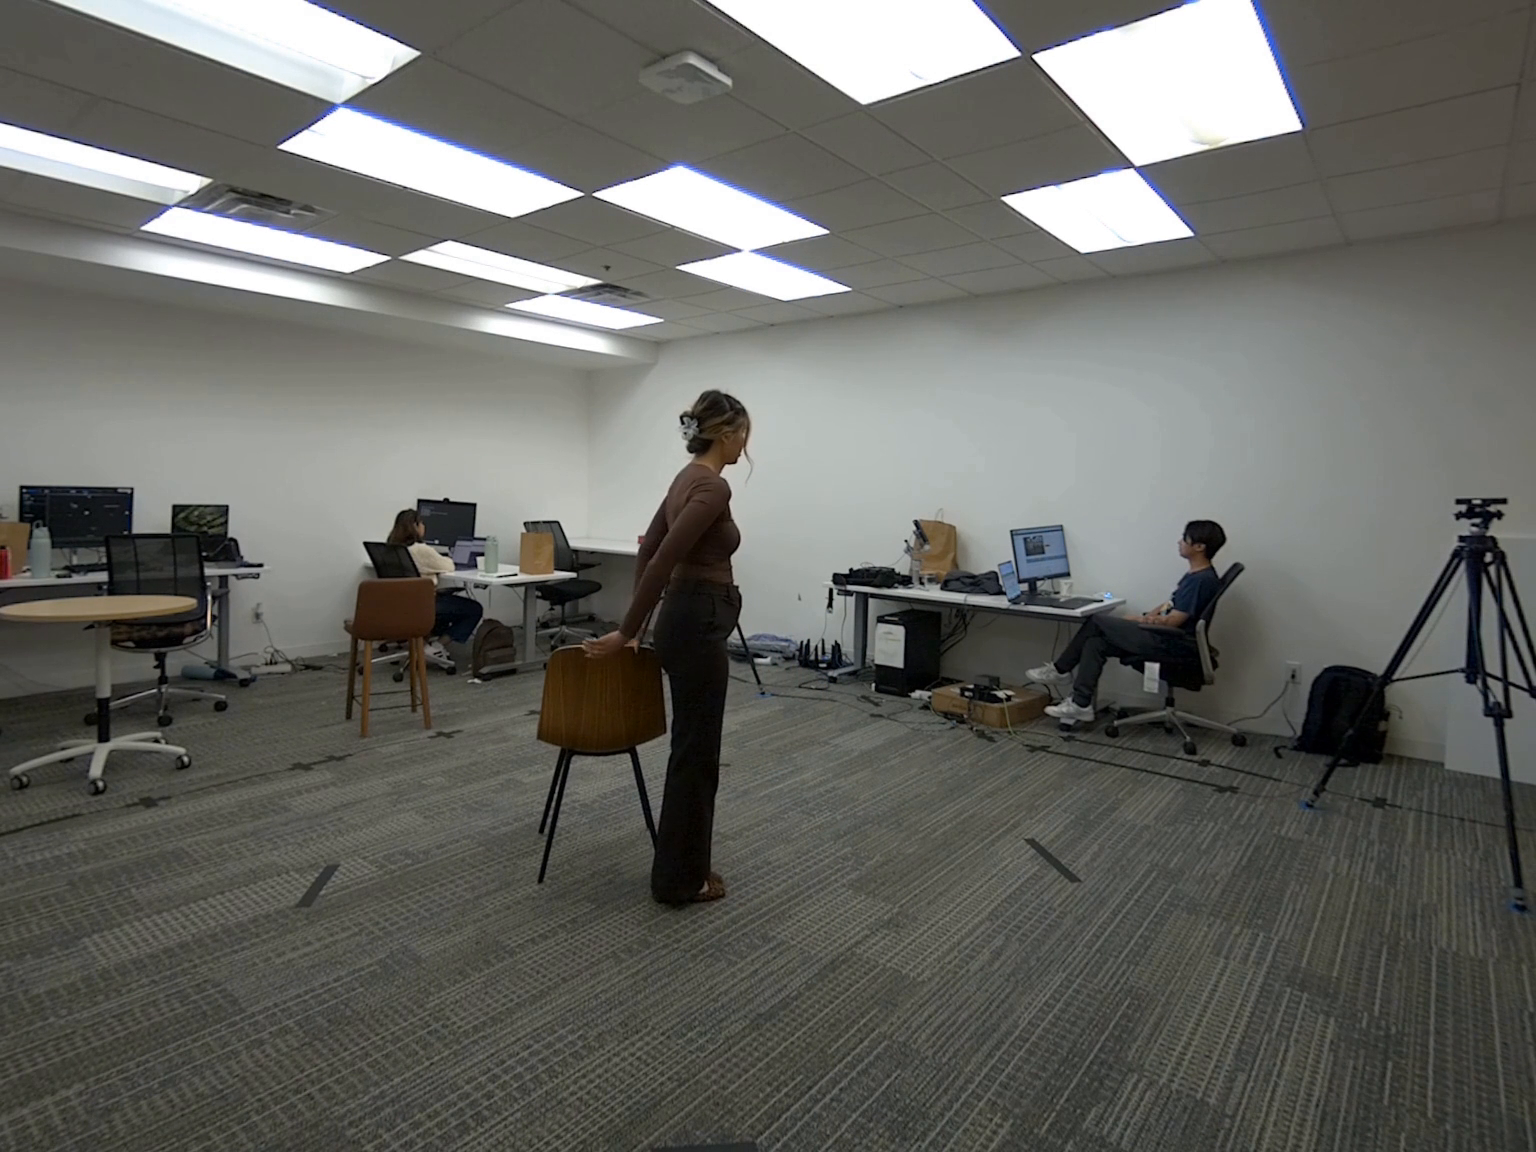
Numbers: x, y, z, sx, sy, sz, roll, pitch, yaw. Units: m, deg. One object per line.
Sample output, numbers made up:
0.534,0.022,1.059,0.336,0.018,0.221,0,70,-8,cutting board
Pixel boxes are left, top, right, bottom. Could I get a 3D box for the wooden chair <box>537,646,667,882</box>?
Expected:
-0.649,0.621,3.217,0.472,0.871,0.533,0,8,-12,wooden chair
